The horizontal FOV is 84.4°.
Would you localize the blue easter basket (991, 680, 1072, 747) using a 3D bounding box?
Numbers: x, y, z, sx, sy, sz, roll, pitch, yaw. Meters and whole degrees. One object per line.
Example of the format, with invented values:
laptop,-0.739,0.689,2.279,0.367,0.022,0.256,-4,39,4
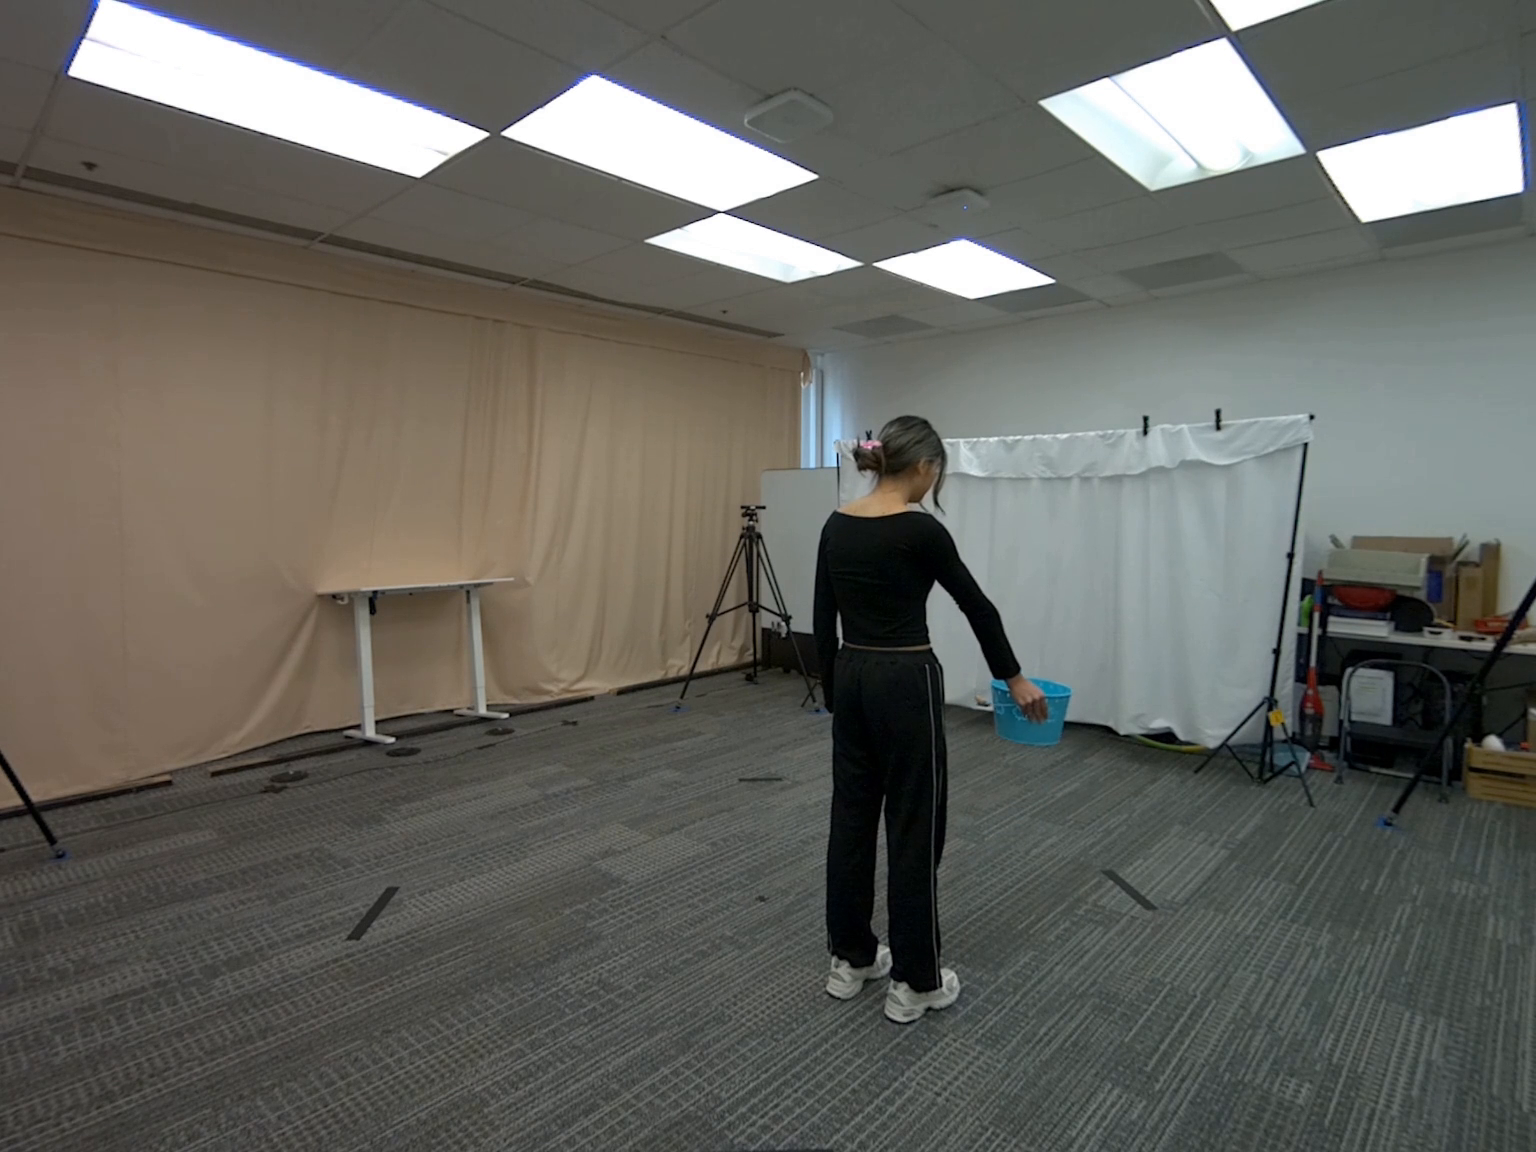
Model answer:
blue easter basket,0.796,0.406,2.504,0.243,0.155,0.245,3,6,-2
